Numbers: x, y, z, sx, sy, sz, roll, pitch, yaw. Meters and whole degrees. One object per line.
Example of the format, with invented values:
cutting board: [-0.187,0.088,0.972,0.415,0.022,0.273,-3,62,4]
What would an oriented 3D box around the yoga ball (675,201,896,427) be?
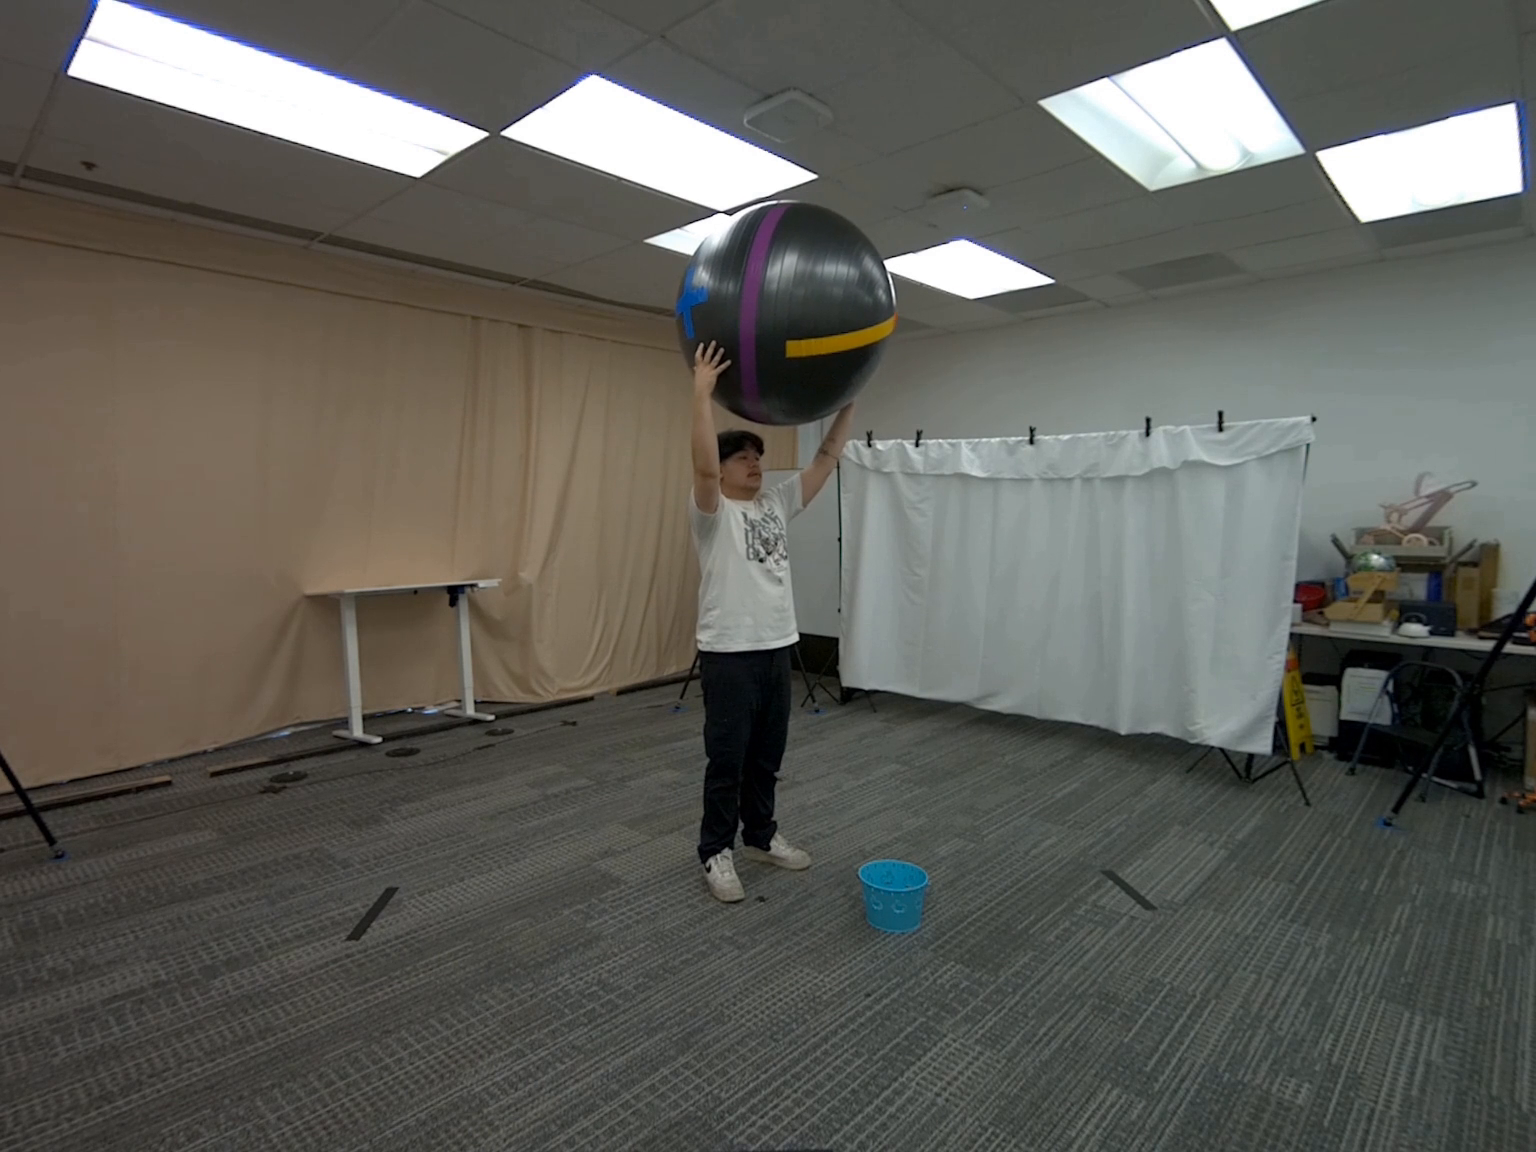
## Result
yoga ball: [0.061,-0.904,2.943,0.757,0.756,0.760,0,4,-2]
